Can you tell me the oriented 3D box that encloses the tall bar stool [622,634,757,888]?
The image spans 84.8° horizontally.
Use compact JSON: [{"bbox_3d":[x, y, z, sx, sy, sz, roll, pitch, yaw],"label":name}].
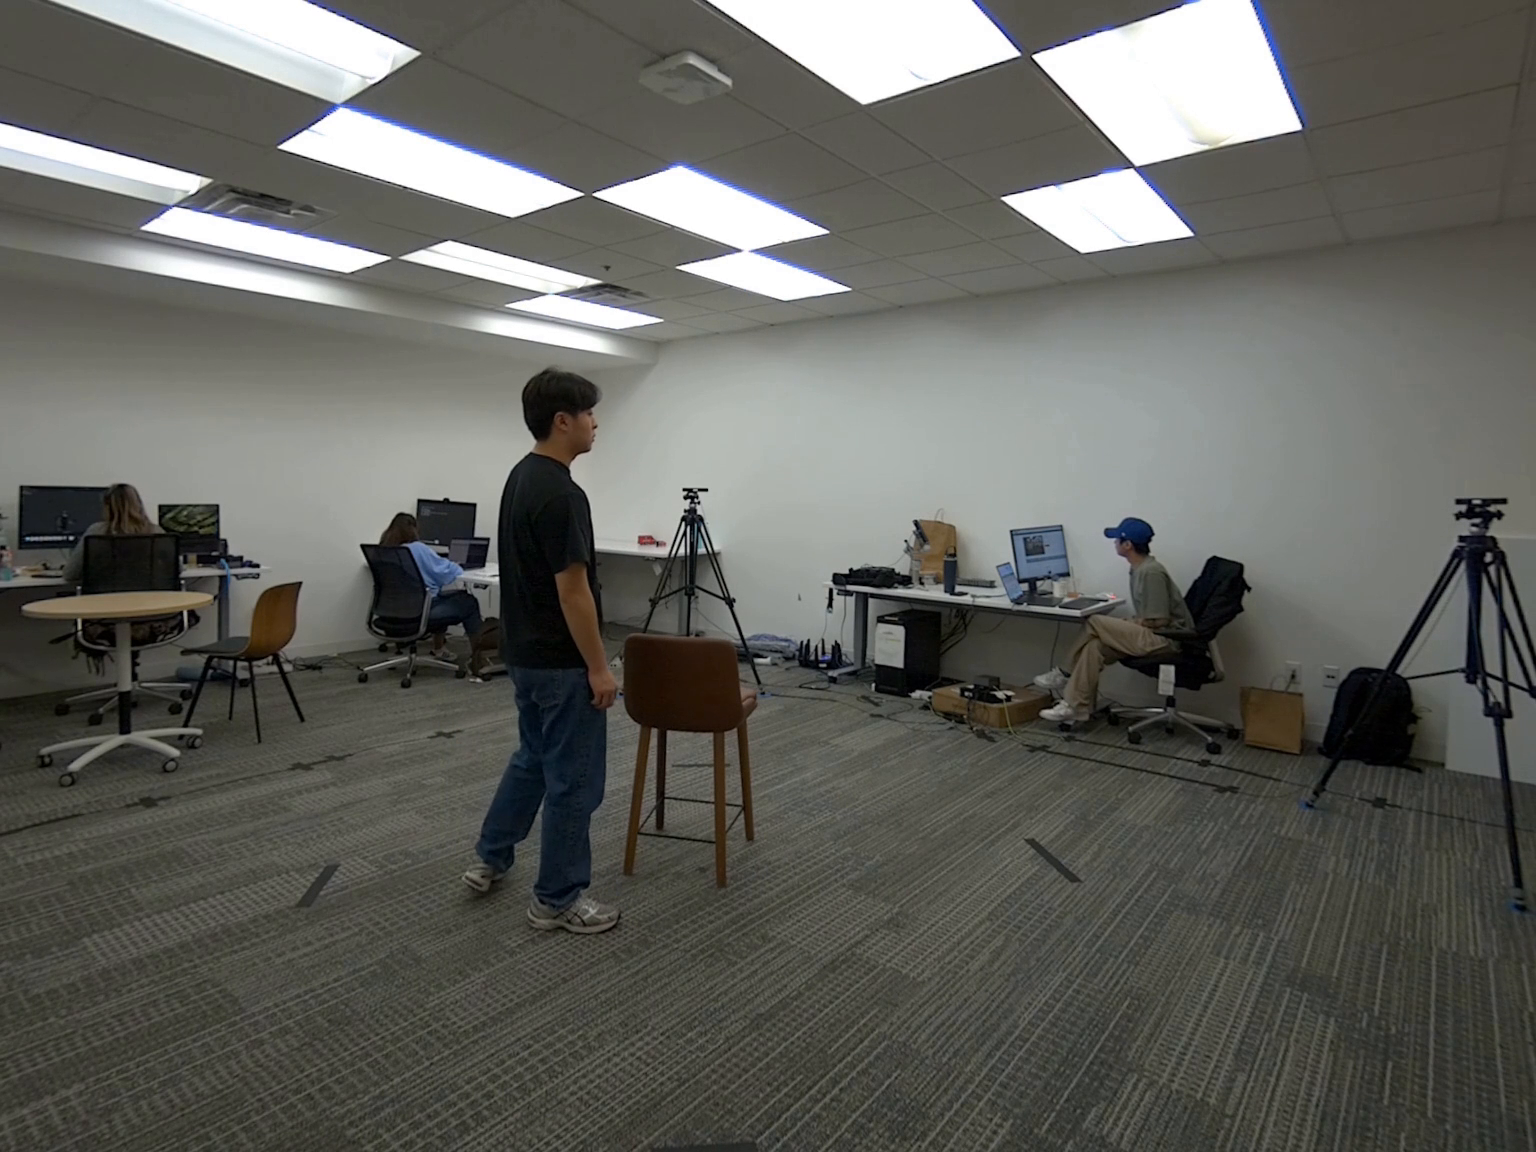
[{"bbox_3d":[-0.300,0.625,3.198,0.464,0.886,0.462,1,5,14],"label":"tall bar stool"}]
